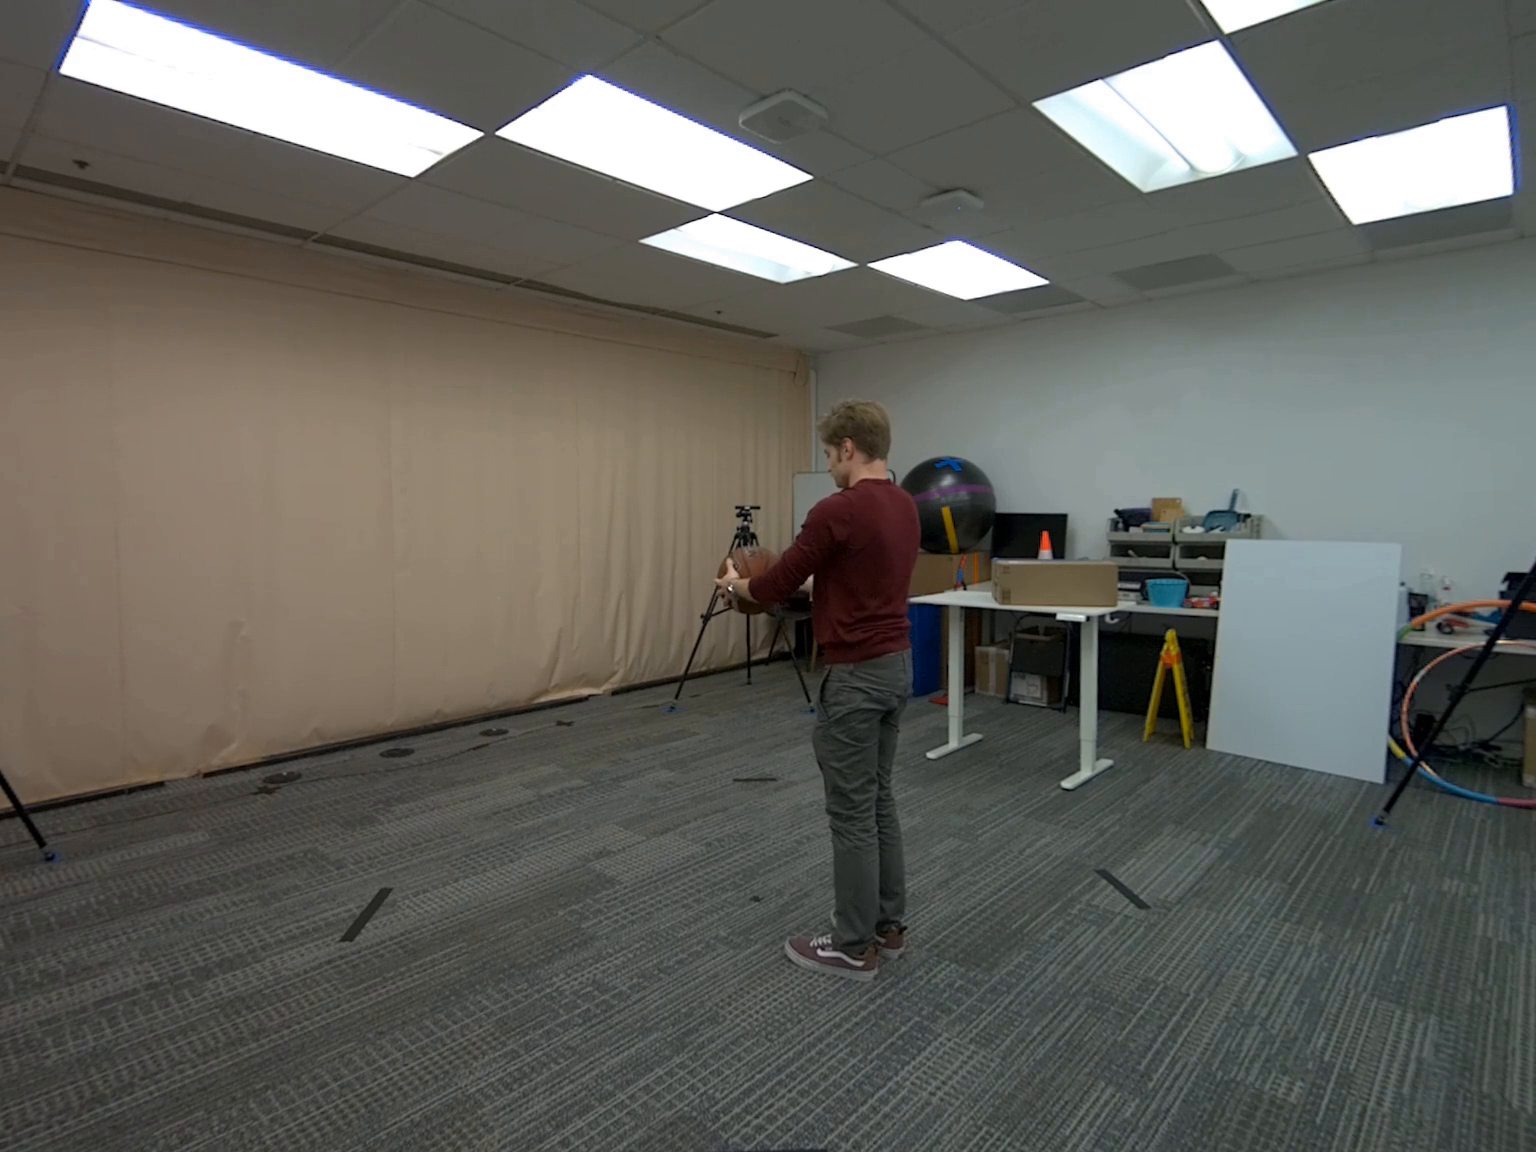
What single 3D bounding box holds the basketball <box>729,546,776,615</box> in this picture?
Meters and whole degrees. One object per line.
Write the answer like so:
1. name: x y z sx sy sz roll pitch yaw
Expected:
1. basketball: -0.055 0.003 2.909 0.236 0.235 0.237 0 4 -2
